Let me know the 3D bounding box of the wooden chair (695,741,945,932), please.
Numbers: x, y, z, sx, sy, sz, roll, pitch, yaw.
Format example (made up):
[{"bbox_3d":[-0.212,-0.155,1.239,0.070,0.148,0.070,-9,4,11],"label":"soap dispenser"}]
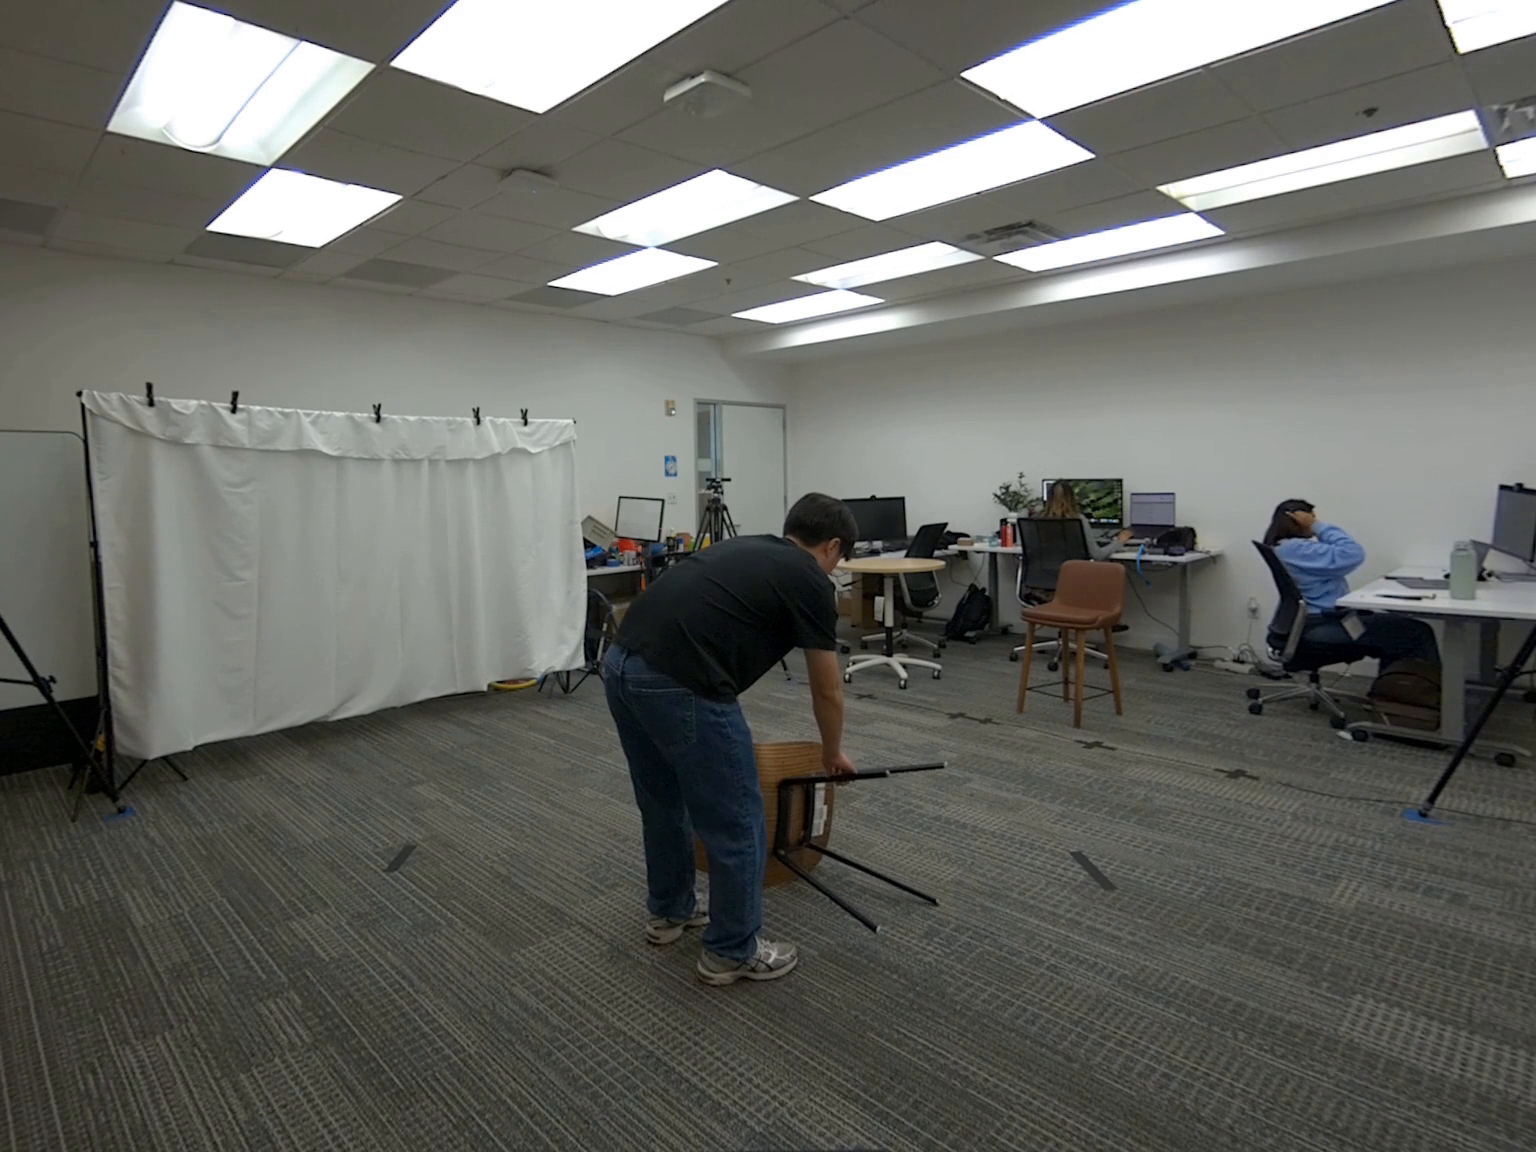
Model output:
[{"bbox_3d":[0.108,0.815,2.893,0.900,0.480,0.507,1,-6,31],"label":"wooden chair"}]
